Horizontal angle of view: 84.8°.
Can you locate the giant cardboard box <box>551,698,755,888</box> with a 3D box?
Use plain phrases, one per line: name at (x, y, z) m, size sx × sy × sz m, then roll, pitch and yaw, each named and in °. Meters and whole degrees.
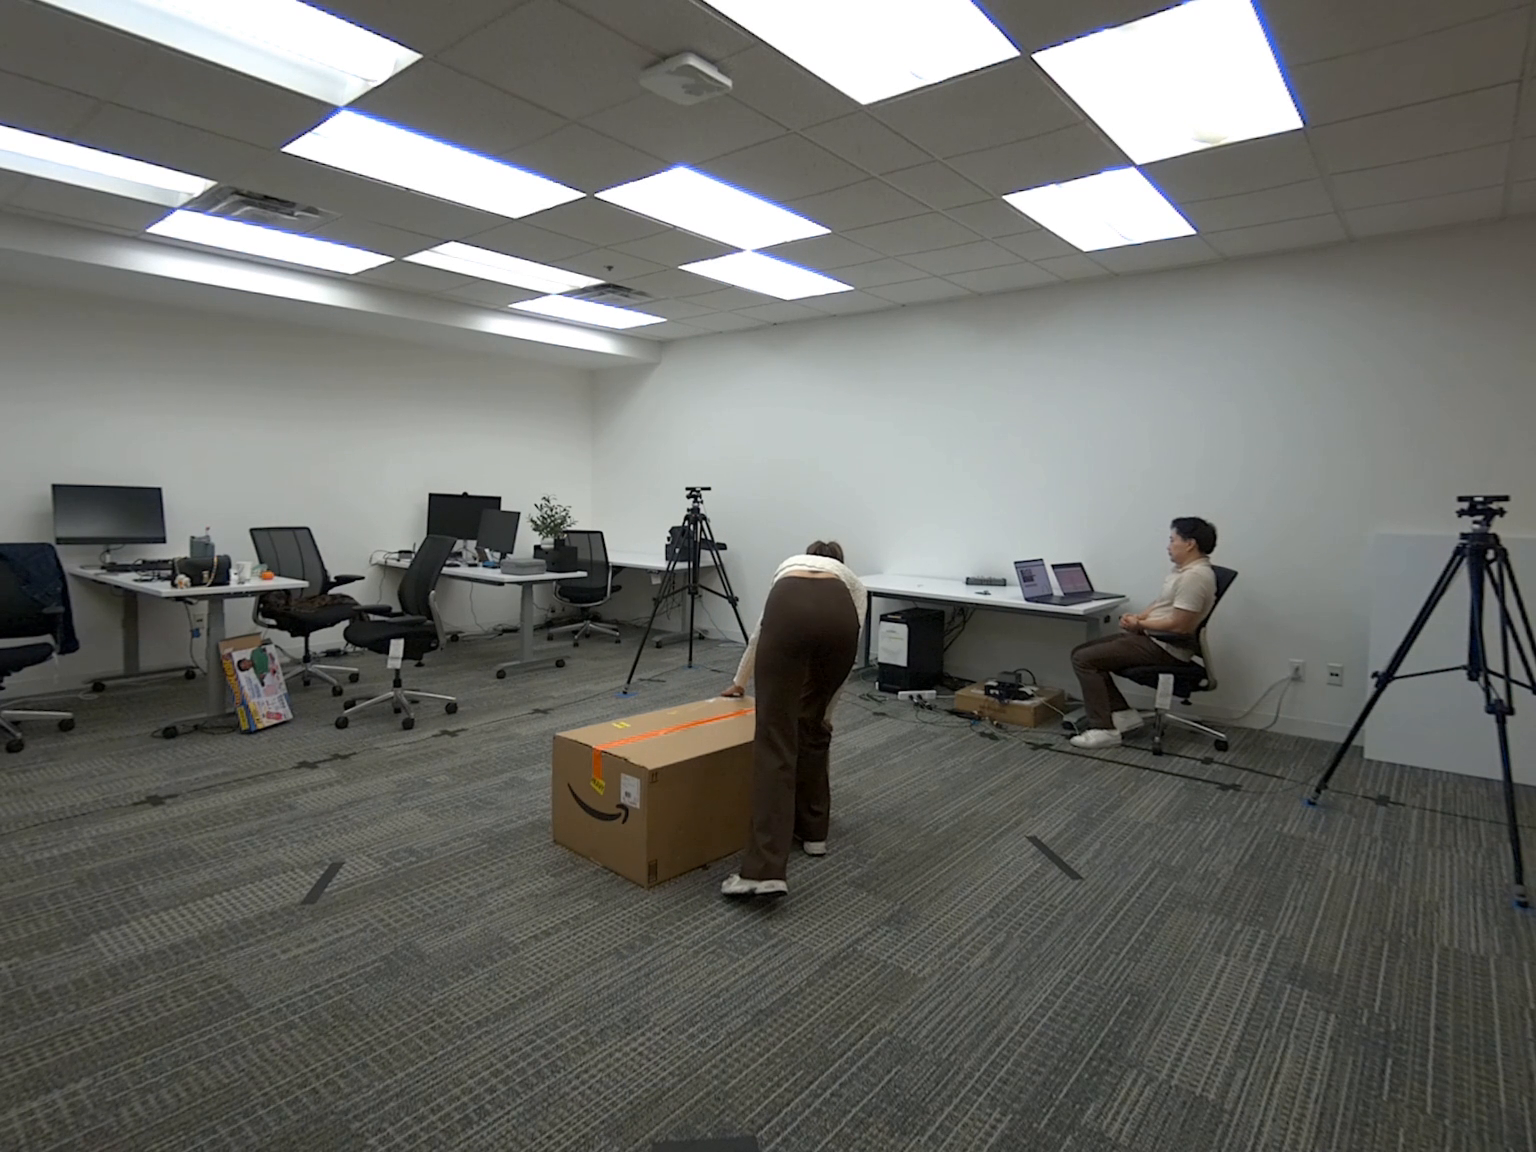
giant cardboard box at (-0.304, 0.813, 3.479) m, size 0.597 × 0.424 × 0.995 m, roll 5°, pitch 7°, yaw 43°
